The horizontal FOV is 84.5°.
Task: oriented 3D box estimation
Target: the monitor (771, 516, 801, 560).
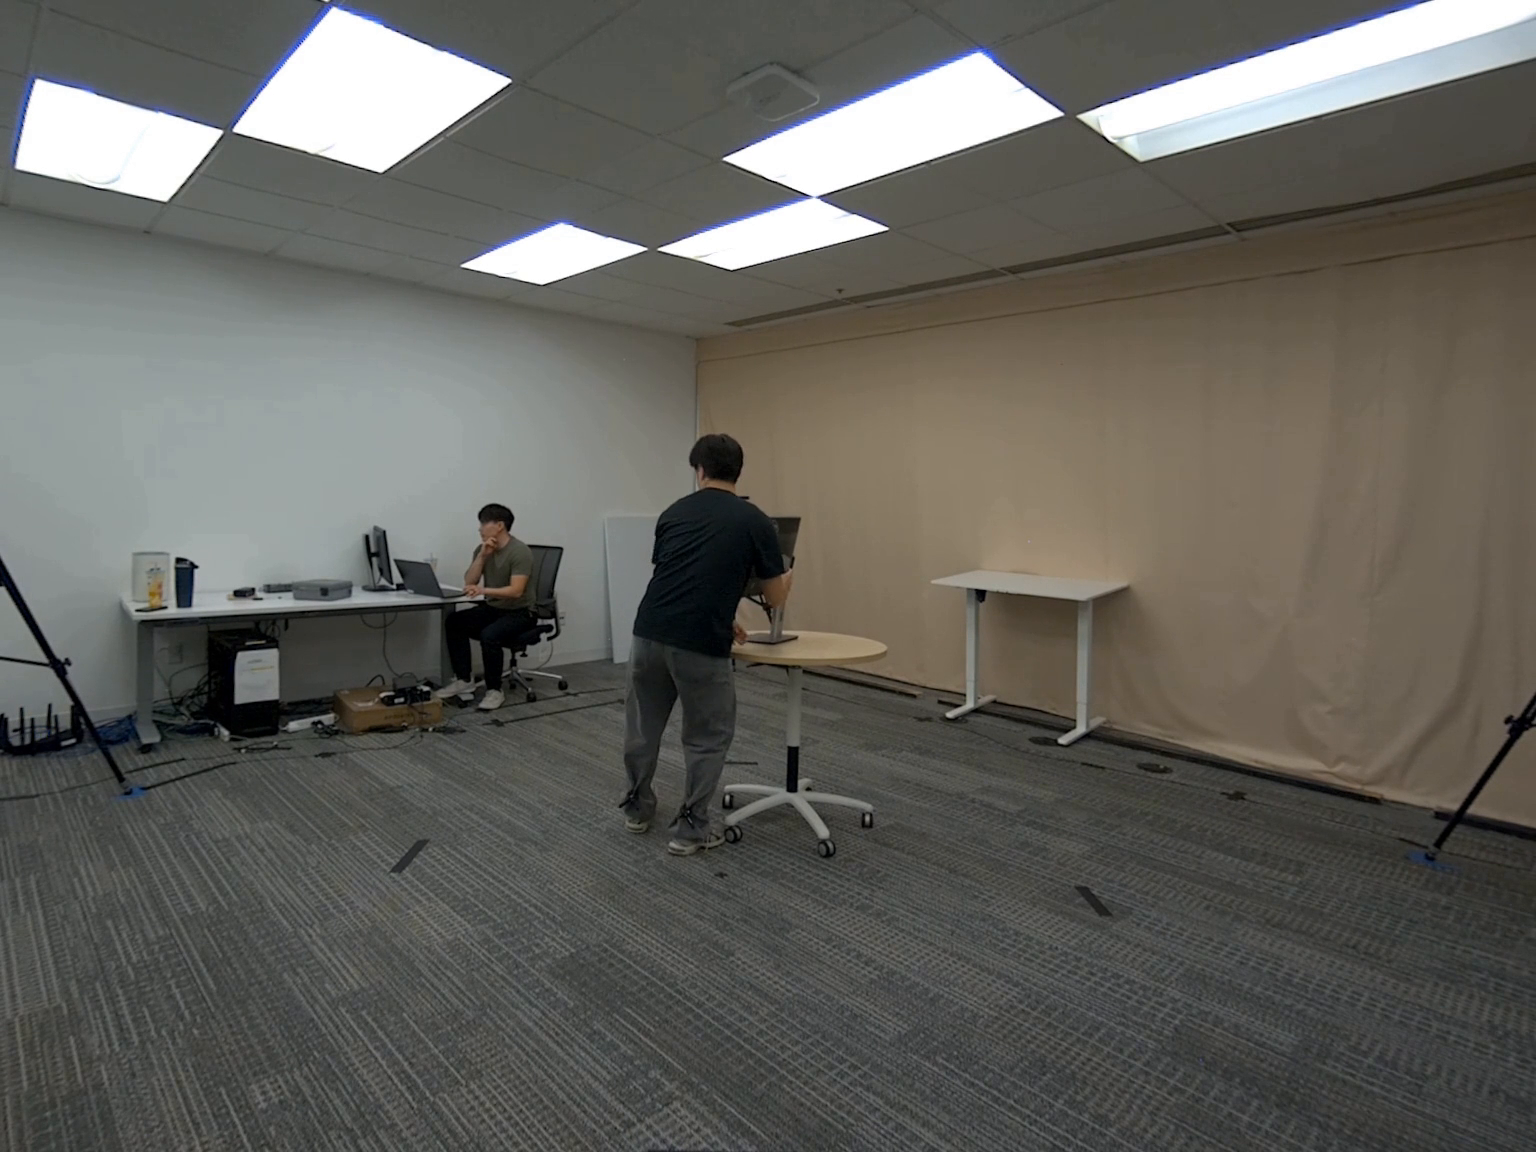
[{"bbox_3d":[-0.008,0.019,3.665,0.227,0.565,0.550,0,2,31],"label":"monitor"}]
